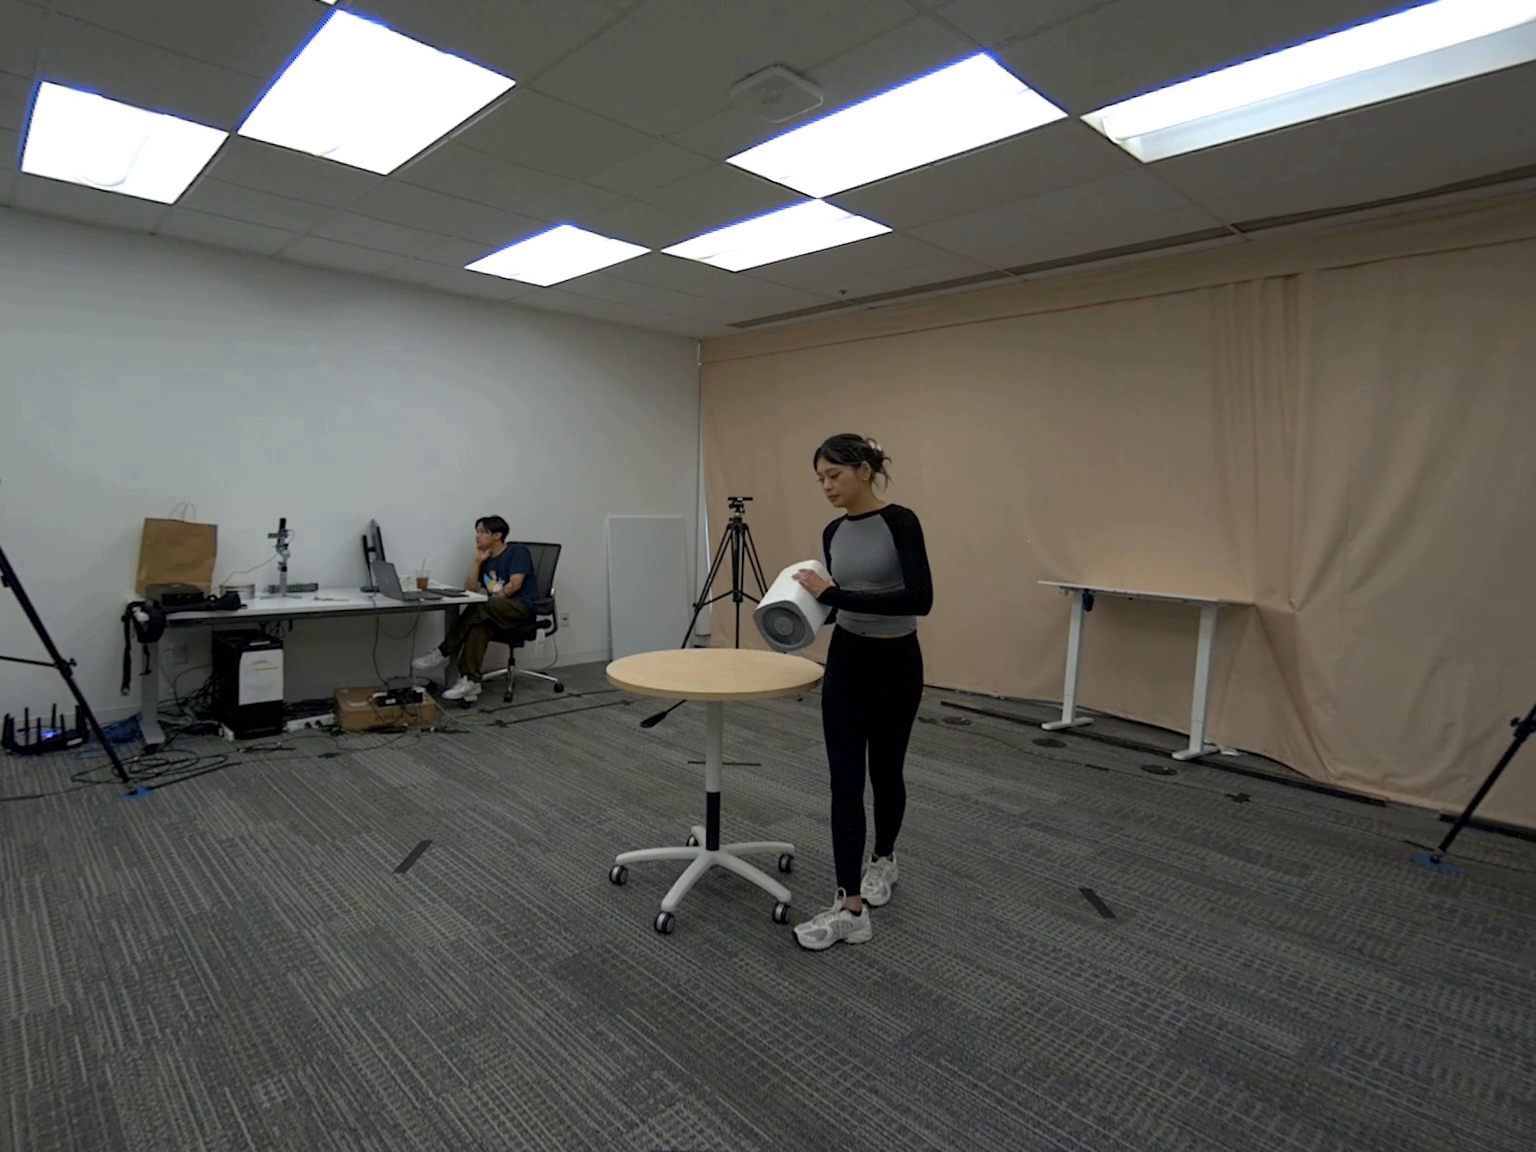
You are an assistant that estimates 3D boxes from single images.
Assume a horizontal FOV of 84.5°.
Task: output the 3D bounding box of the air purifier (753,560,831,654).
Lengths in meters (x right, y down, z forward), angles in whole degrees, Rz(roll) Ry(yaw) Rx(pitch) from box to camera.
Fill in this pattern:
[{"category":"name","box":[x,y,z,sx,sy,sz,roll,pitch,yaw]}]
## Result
[{"category":"air purifier","box":[0.091,0.086,2.607,0.173,0.169,0.266,-21,20,32]}]
